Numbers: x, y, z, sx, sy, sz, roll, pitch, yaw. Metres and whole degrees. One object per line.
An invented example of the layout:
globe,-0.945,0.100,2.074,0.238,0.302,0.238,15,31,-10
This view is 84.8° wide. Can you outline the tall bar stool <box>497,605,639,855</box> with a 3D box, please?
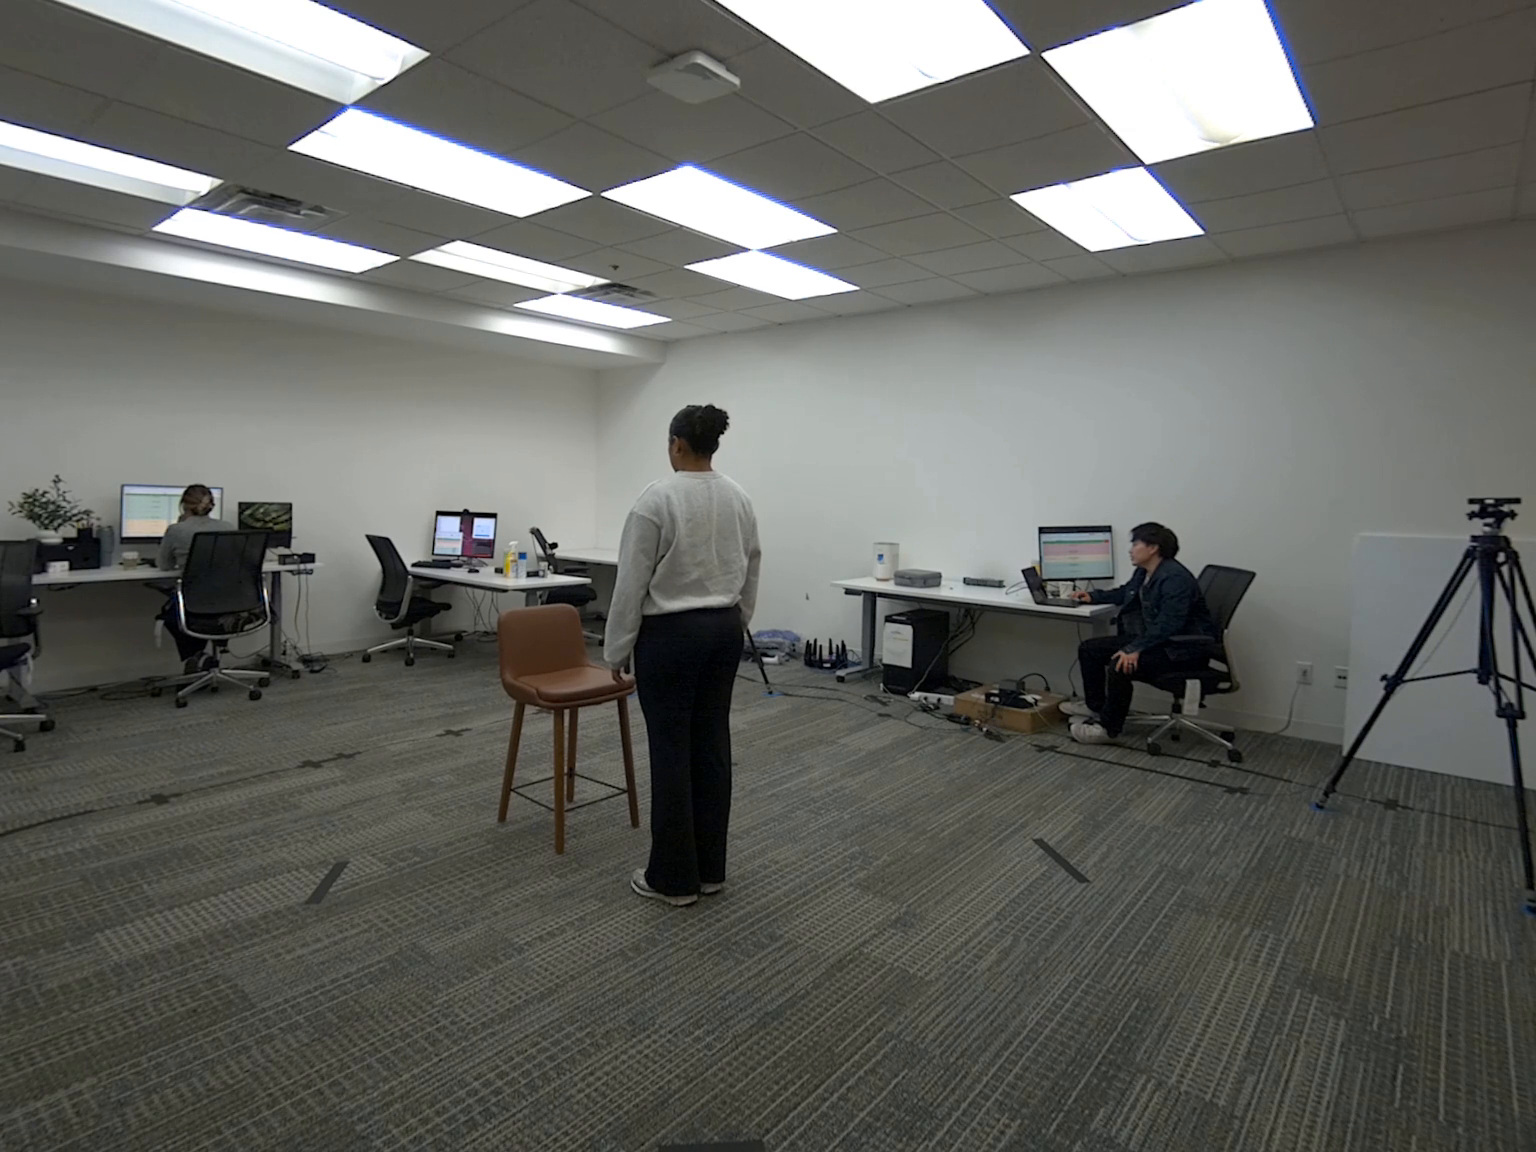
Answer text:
tall bar stool,-0.837,0.581,3.480,0.483,0.889,0.442,1,1,42
